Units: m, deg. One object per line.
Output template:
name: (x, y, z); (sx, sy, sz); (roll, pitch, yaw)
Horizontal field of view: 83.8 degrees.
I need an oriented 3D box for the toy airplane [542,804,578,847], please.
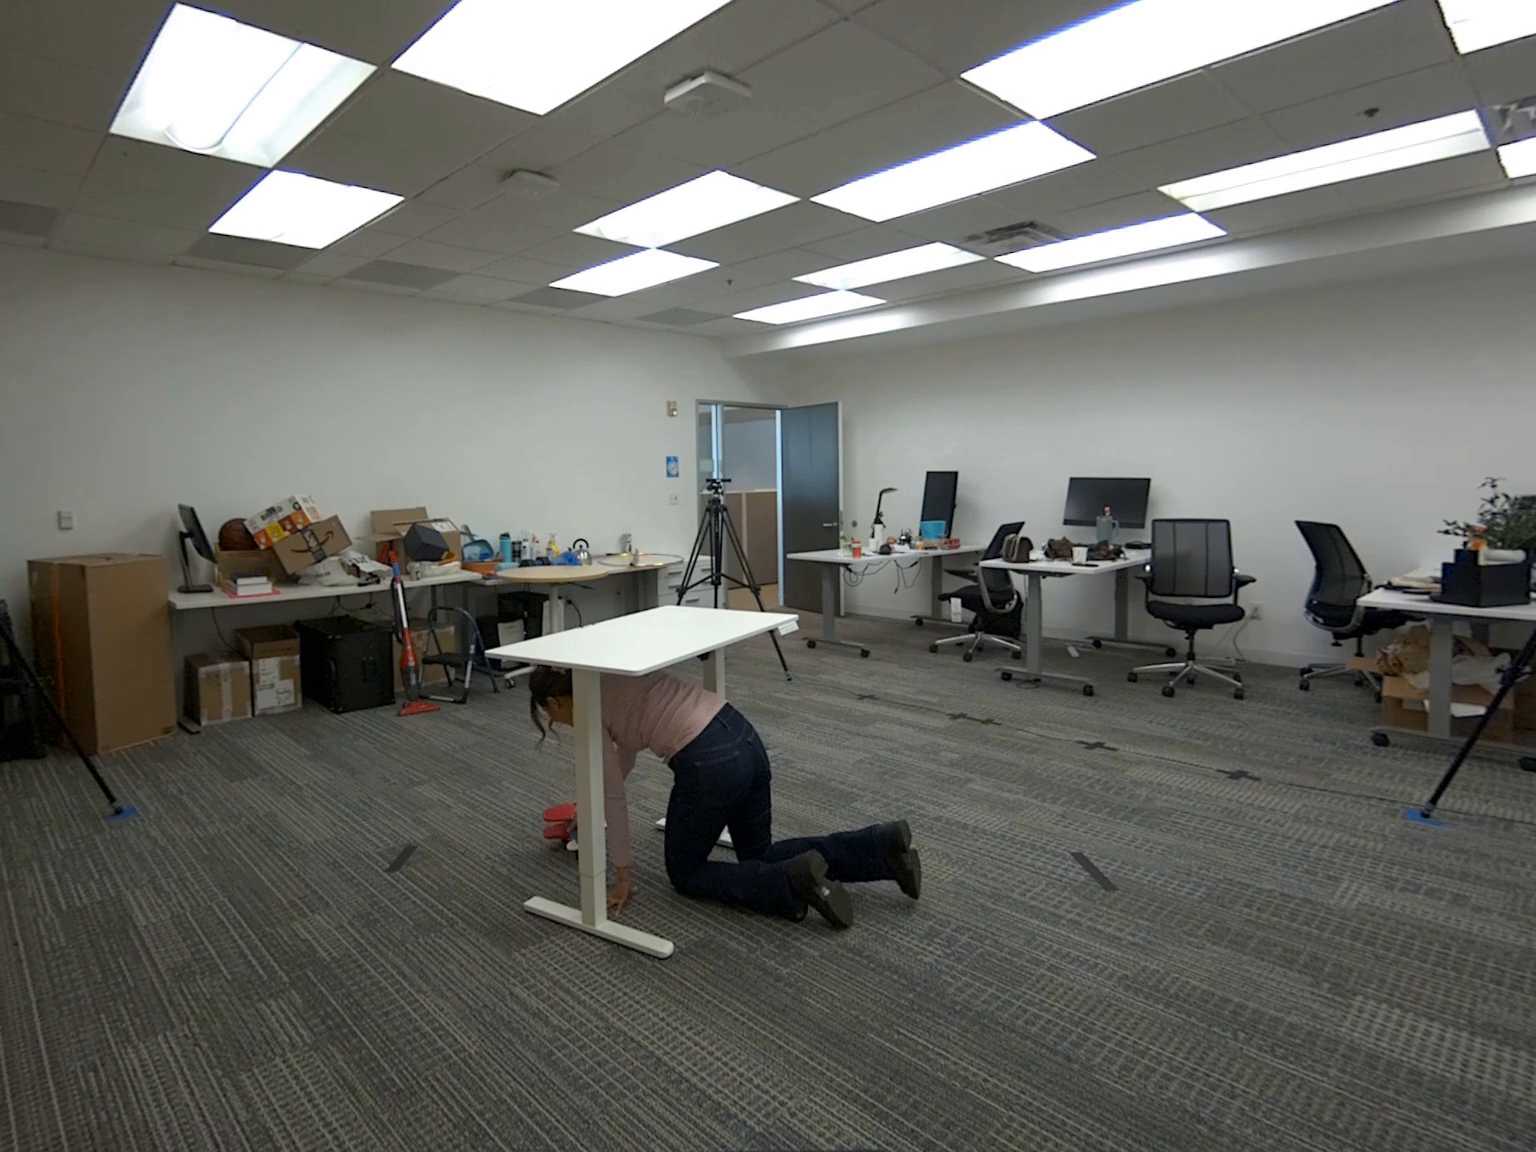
toy airplane: (-0.701, 0.965, 3.255); (0.267, 0.156, 0.244); (2, 6, 42)
